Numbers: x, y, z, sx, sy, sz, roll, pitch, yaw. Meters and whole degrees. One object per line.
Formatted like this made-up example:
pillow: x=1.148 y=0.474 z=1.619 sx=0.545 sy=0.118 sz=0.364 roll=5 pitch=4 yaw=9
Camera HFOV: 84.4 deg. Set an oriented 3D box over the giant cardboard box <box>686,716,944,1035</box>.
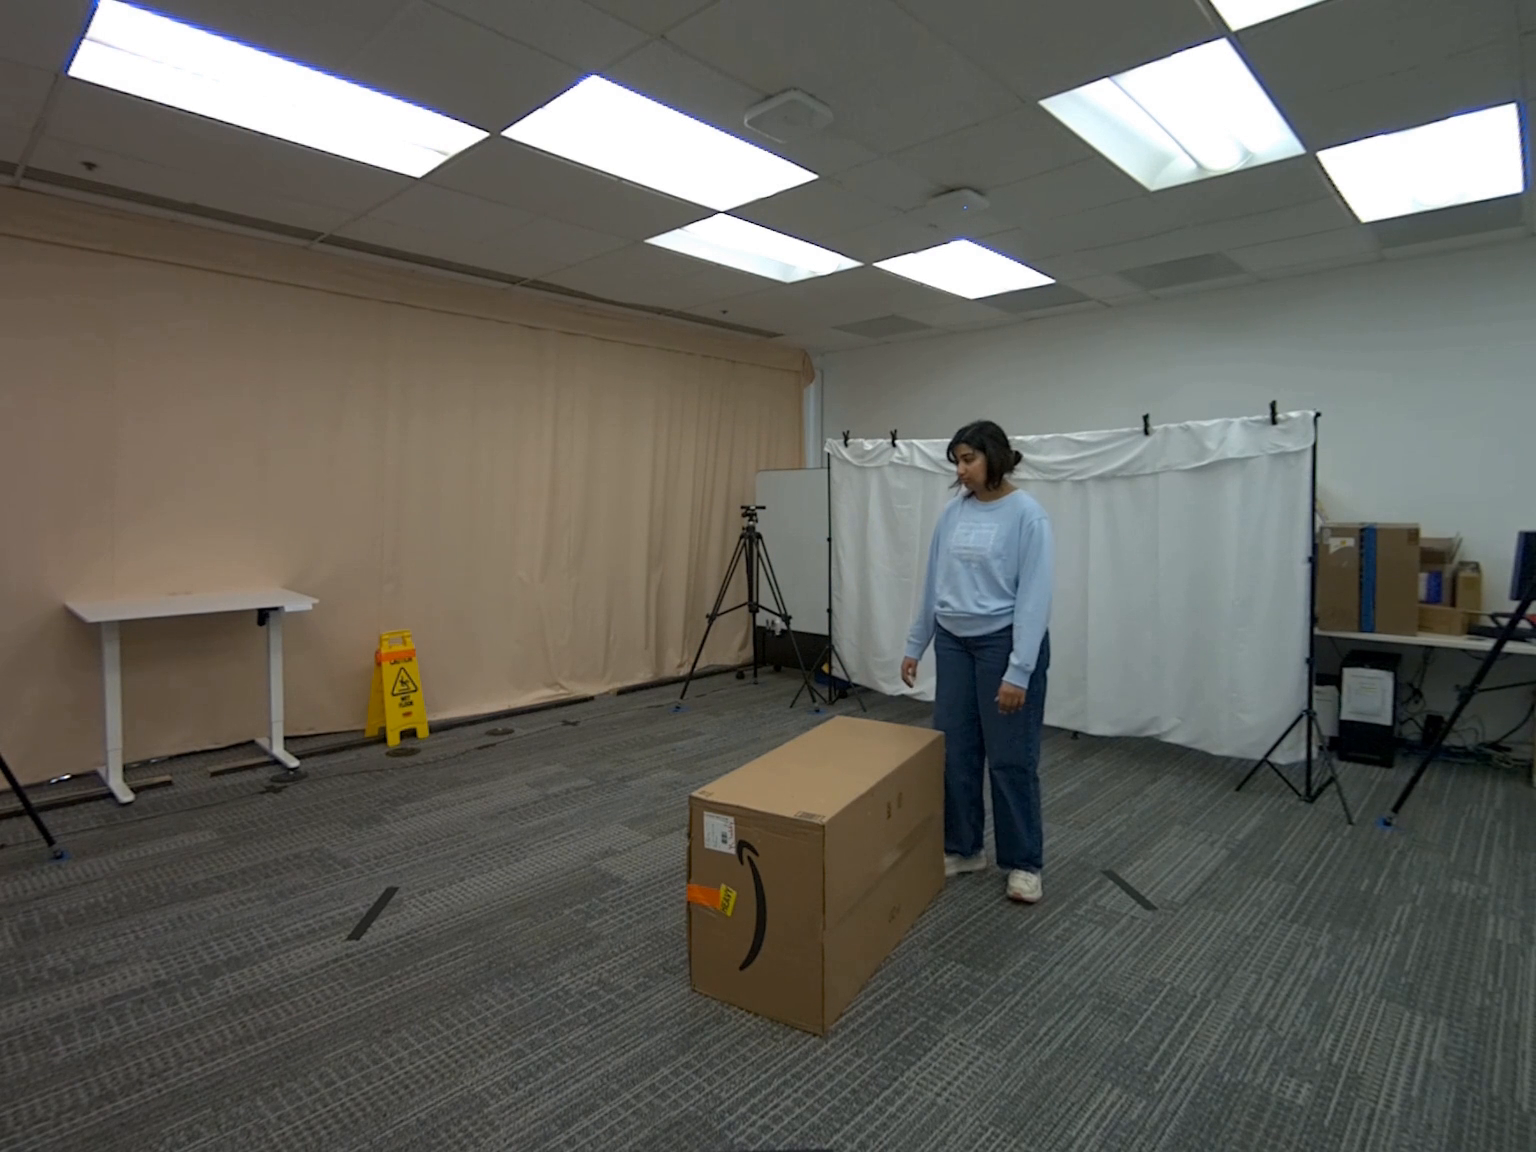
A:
giant cardboard box: x=0.201 y=0.880 z=2.722 sx=0.460 sy=0.582 sz=1.000 roll=3 pitch=5 yaw=30
